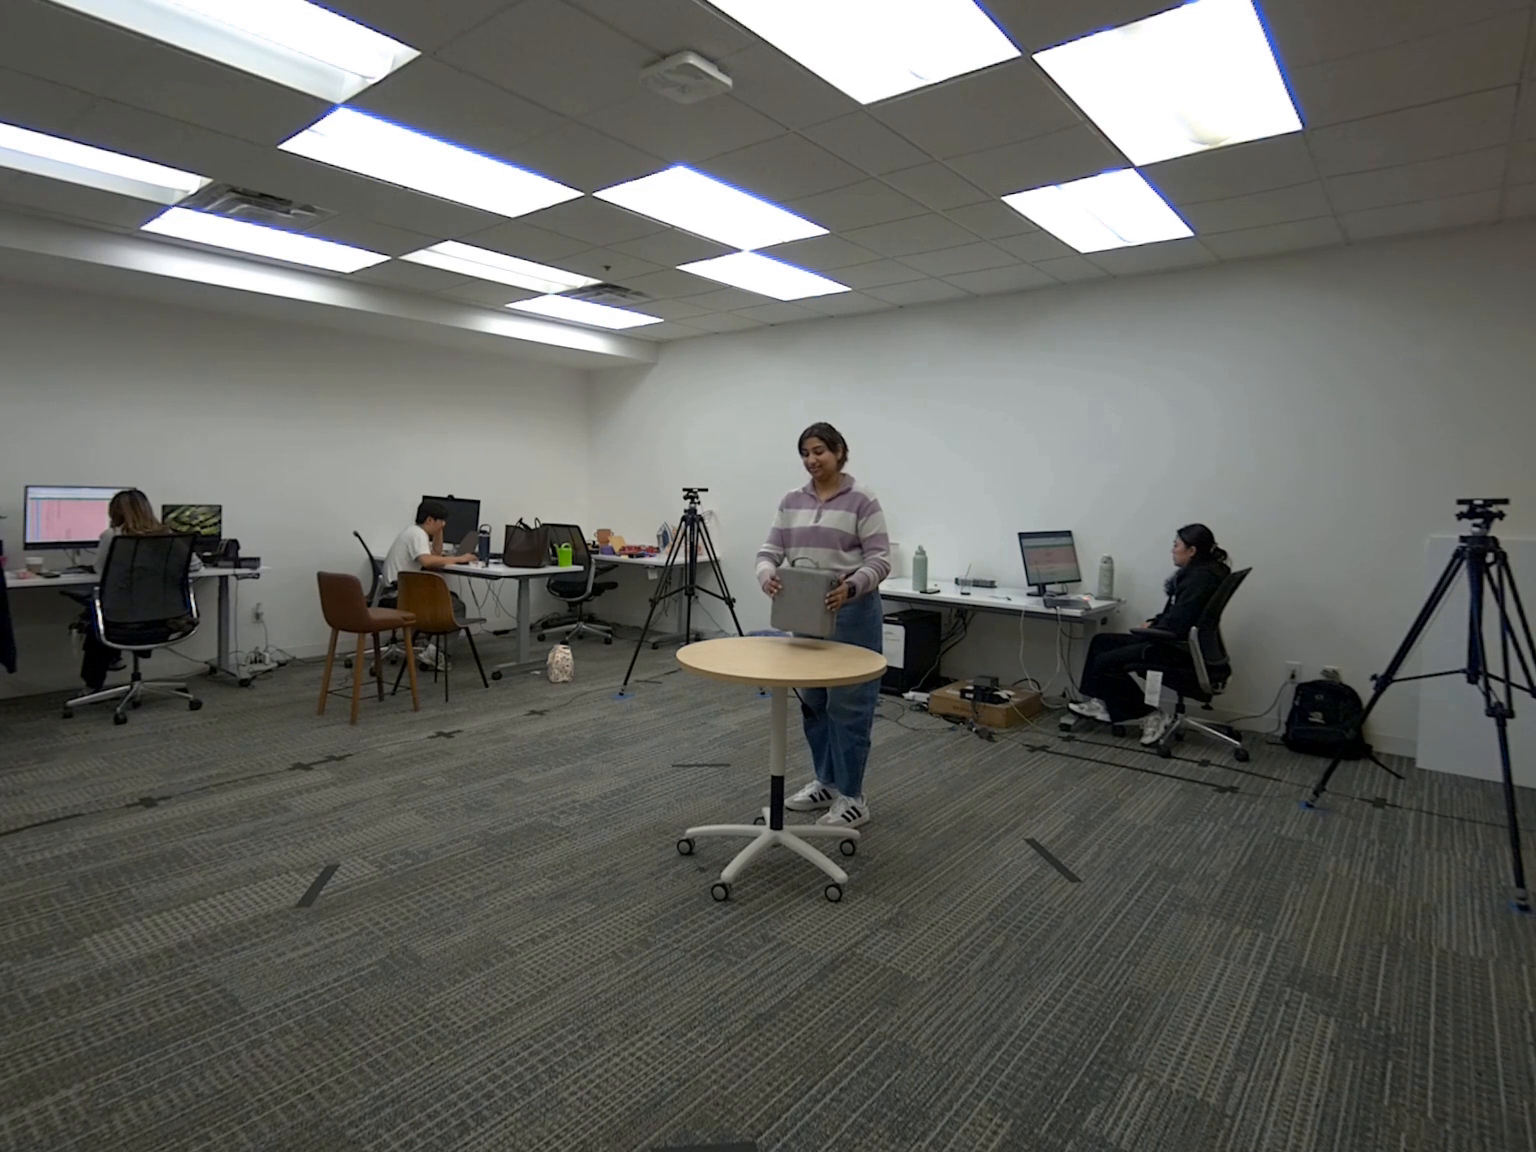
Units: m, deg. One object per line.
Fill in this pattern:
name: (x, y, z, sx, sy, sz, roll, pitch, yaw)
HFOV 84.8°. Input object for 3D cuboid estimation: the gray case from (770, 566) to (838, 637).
gray case: (0.139, 0.086, 3.296, 0.101, 0.260, 0.265, 3, 2, -40)
